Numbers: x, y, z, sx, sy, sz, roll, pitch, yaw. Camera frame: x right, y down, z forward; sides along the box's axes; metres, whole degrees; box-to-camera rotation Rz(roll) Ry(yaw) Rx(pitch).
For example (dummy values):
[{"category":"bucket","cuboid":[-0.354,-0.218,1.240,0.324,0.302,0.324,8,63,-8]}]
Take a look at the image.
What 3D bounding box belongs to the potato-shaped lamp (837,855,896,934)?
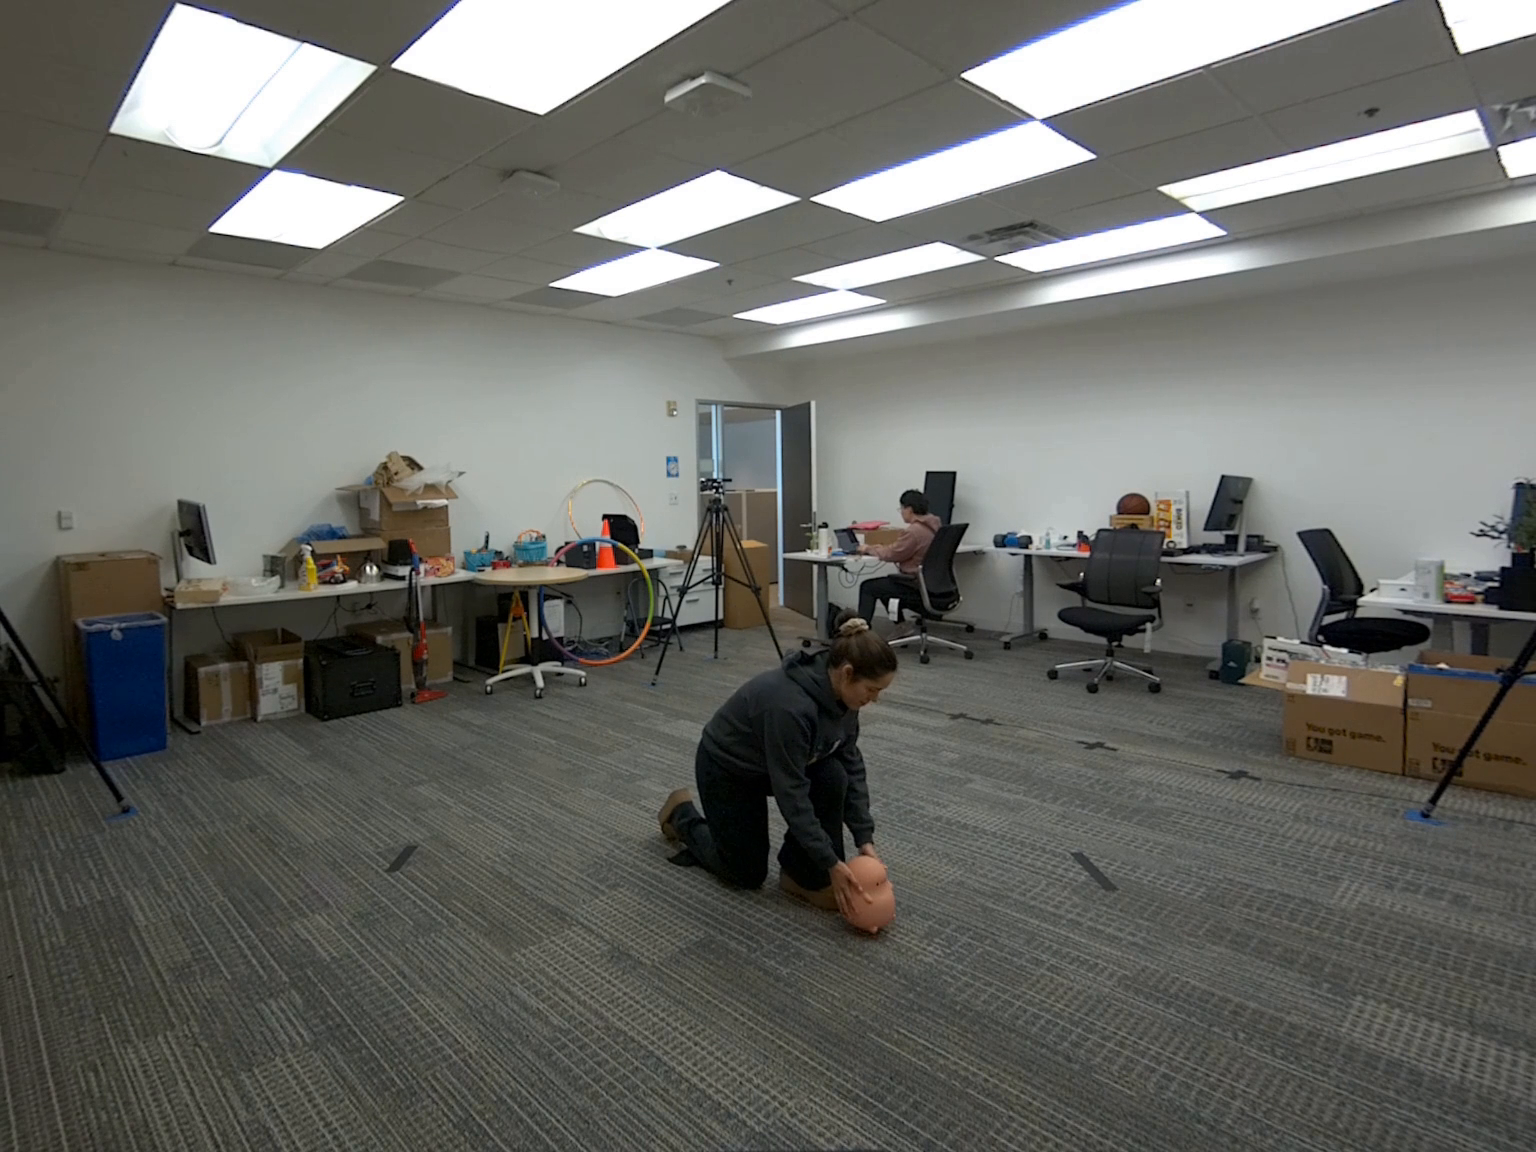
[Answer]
[{"category":"potato-shaped lamp","cuboid":[0.309,0.968,2.634,0.176,0.198,0.160,-2,3,42]}]
